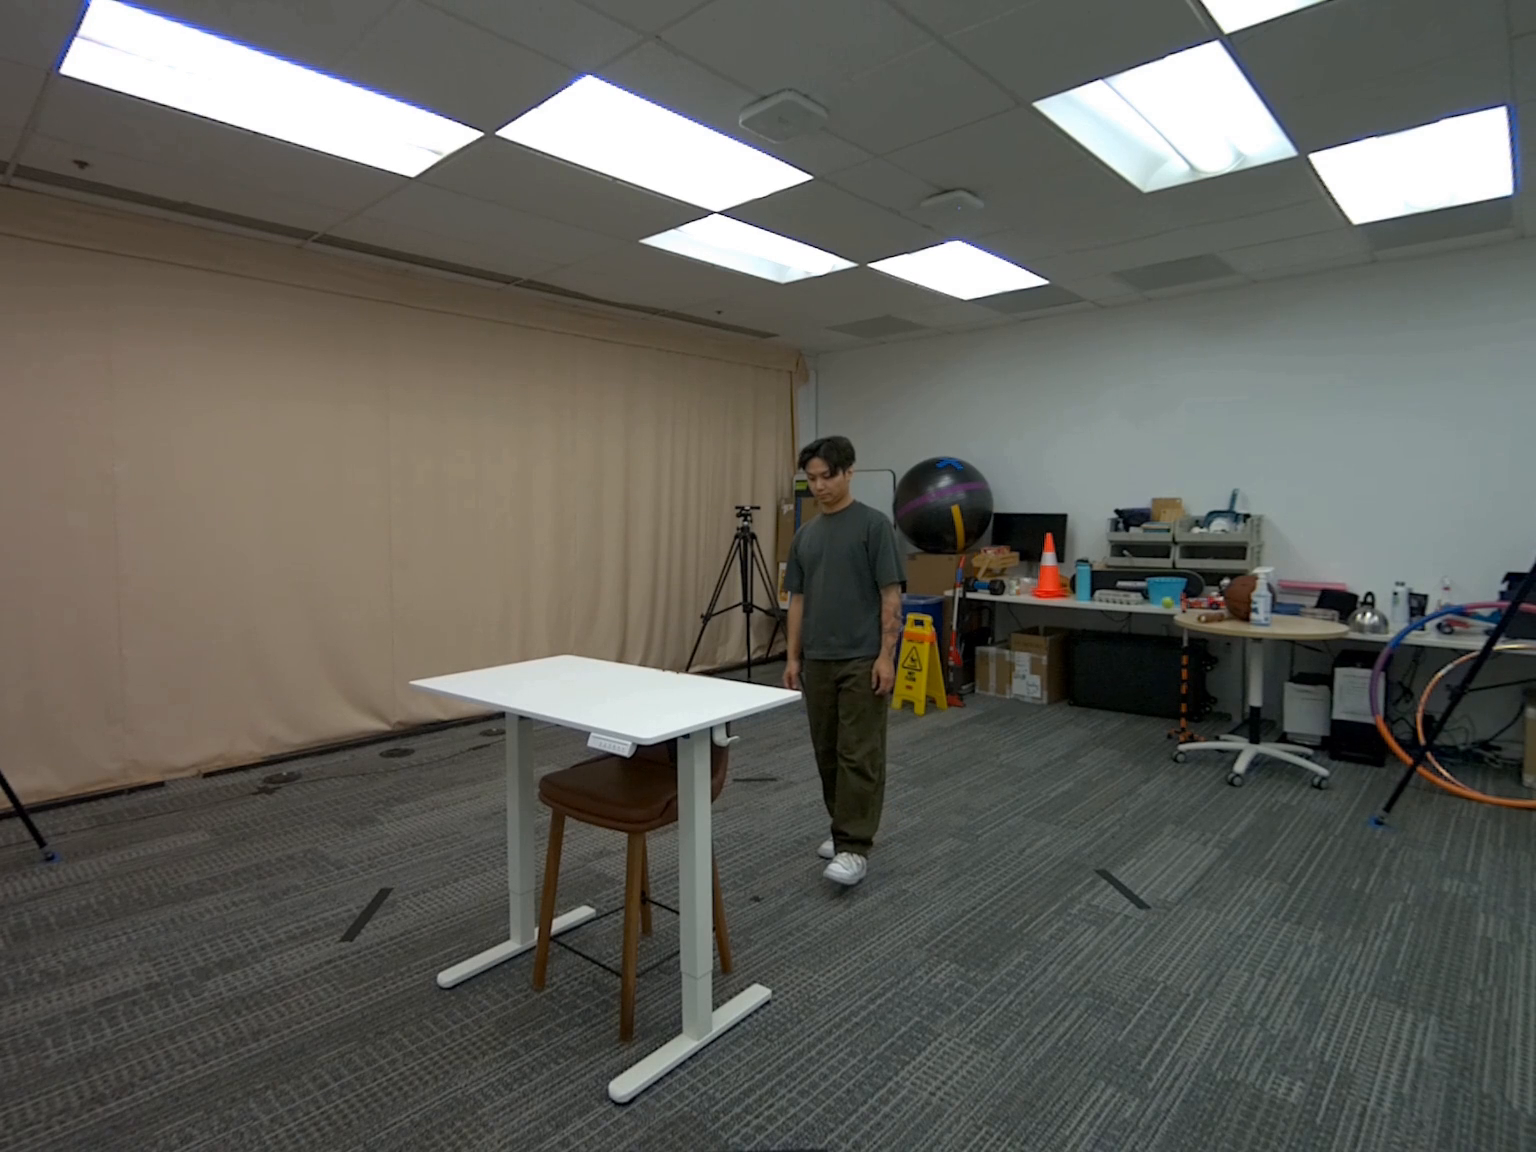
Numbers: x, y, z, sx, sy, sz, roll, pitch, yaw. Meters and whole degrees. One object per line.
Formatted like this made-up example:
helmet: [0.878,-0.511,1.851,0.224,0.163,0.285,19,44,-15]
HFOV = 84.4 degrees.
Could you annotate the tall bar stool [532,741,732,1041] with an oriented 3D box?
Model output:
tall bar stool: [-0.384,0.756,2.458,0.471,0.889,0.453,3,2,39]
